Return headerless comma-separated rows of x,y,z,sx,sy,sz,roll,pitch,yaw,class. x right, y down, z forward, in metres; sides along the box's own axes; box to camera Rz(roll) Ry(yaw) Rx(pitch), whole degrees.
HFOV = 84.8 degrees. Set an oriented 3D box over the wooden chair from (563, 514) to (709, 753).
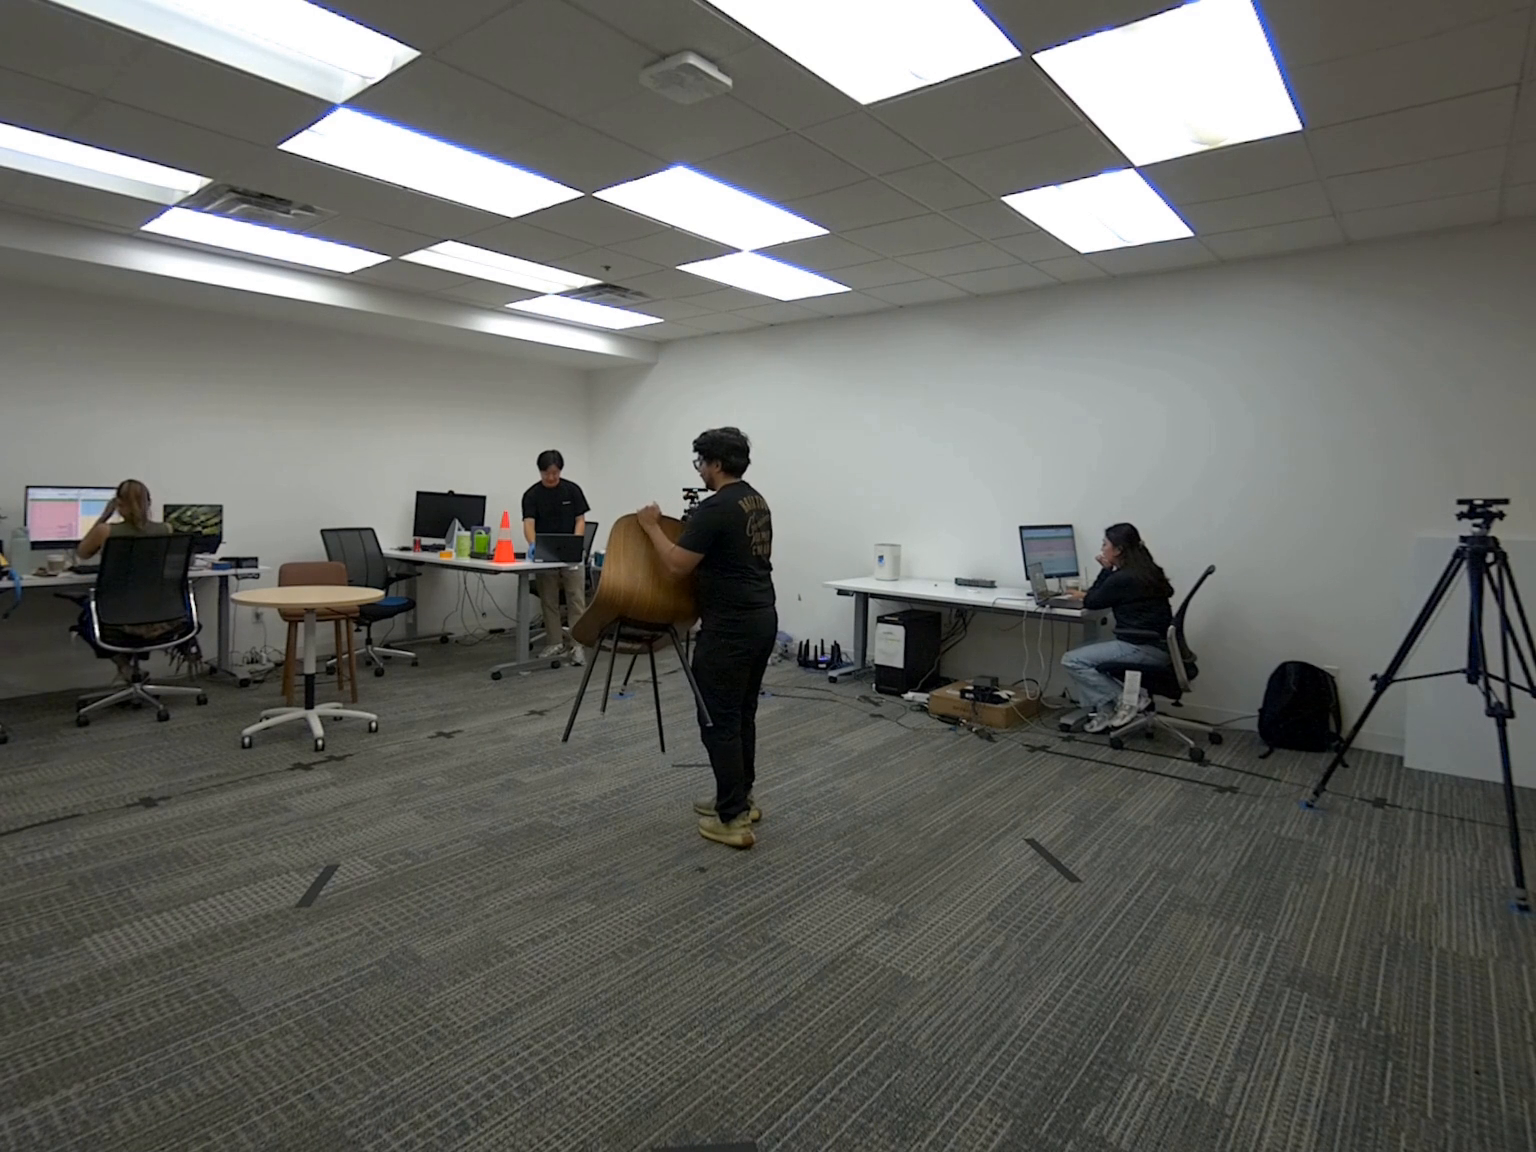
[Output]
-0.571,0.240,3.548,0.464,0.897,0.527,12,-27,-27,wooden chair
